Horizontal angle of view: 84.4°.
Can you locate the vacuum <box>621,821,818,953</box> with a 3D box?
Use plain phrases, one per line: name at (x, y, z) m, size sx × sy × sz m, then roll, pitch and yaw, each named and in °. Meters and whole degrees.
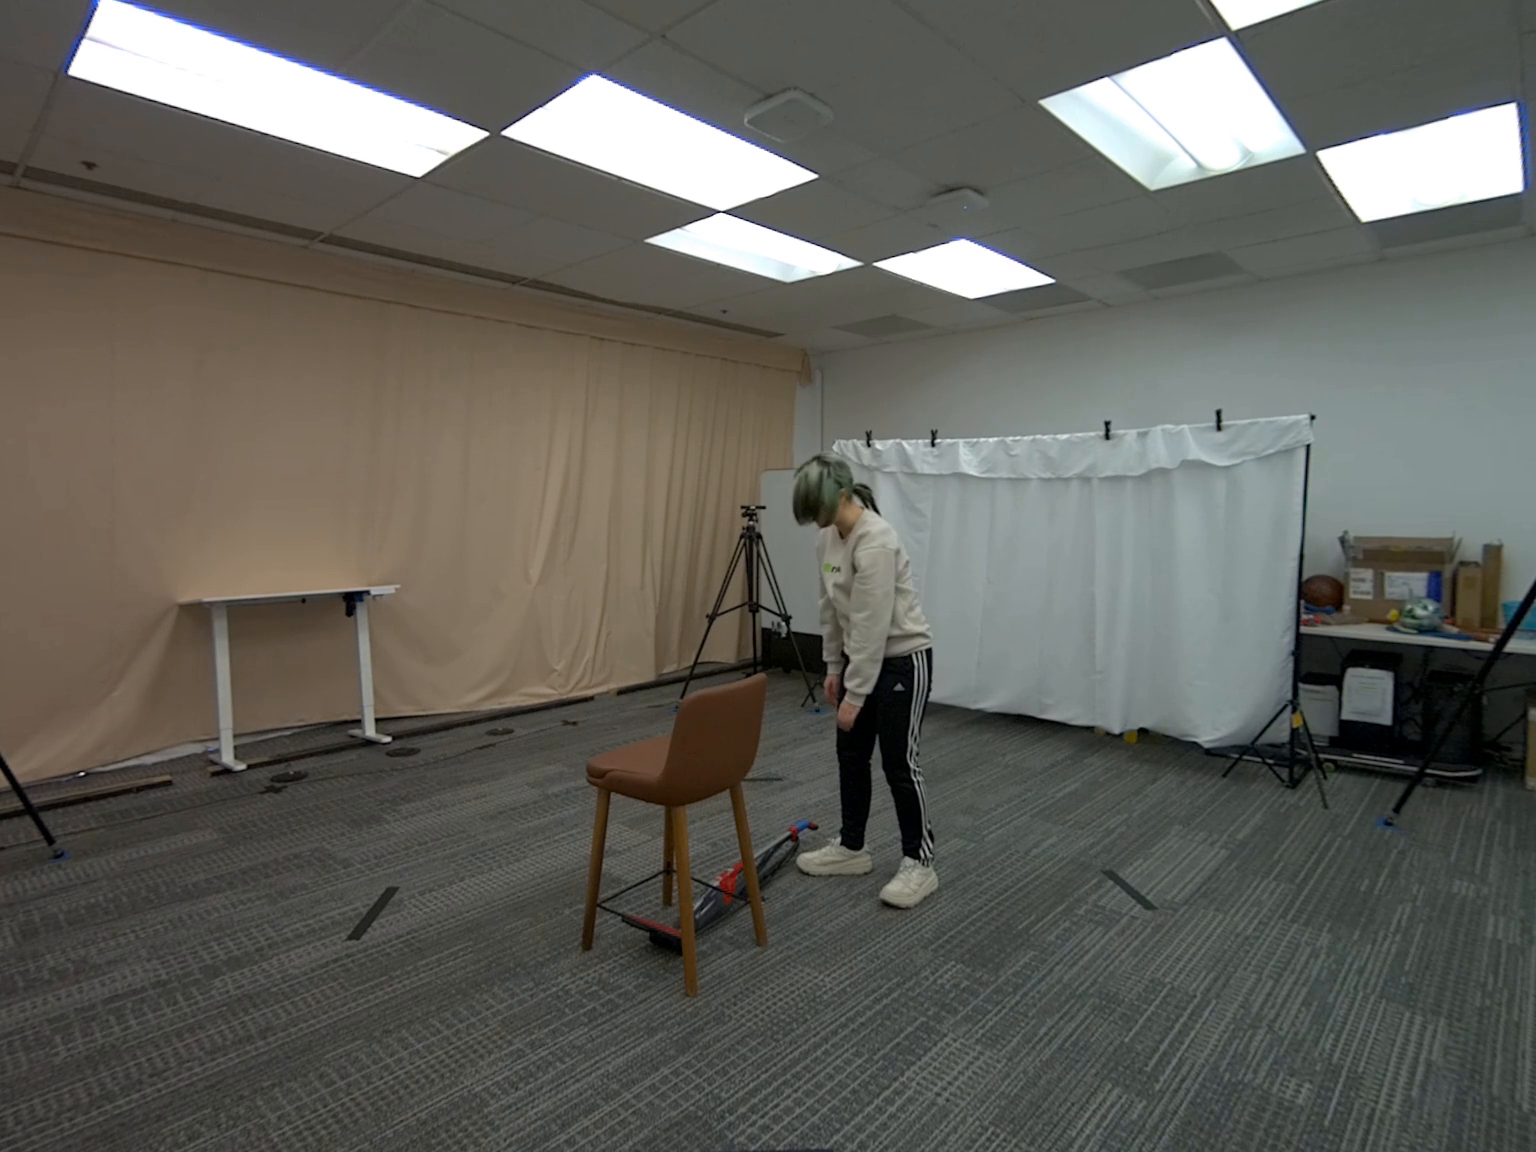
vacuum at (-0.069, 1.087, 3.052) m, size 0.260 × 0.143 × 1.021 m, roll 5°, pitch 6°, yaw 31°
